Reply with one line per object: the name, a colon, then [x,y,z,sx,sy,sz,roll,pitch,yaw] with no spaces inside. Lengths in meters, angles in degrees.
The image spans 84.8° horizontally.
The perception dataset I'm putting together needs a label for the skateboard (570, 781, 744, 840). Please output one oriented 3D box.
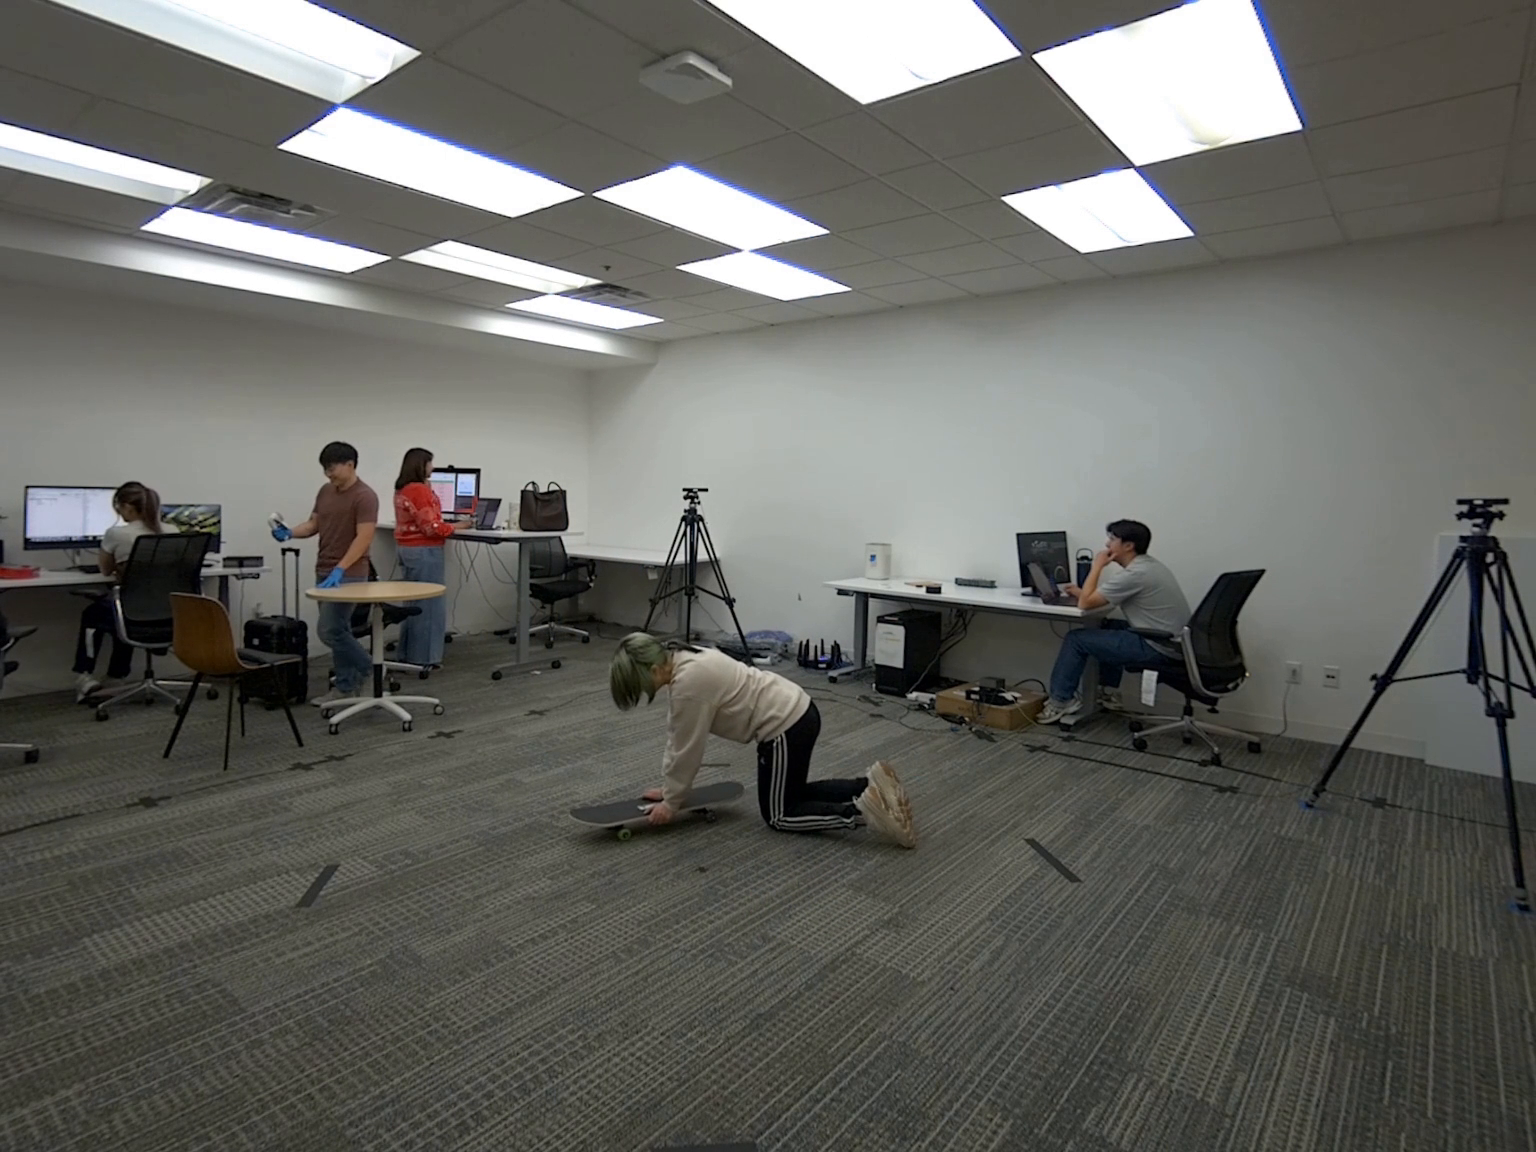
skateboard: [-0.458,0.970,3.521,0.765,0.110,0.200,-3,8,-30]
